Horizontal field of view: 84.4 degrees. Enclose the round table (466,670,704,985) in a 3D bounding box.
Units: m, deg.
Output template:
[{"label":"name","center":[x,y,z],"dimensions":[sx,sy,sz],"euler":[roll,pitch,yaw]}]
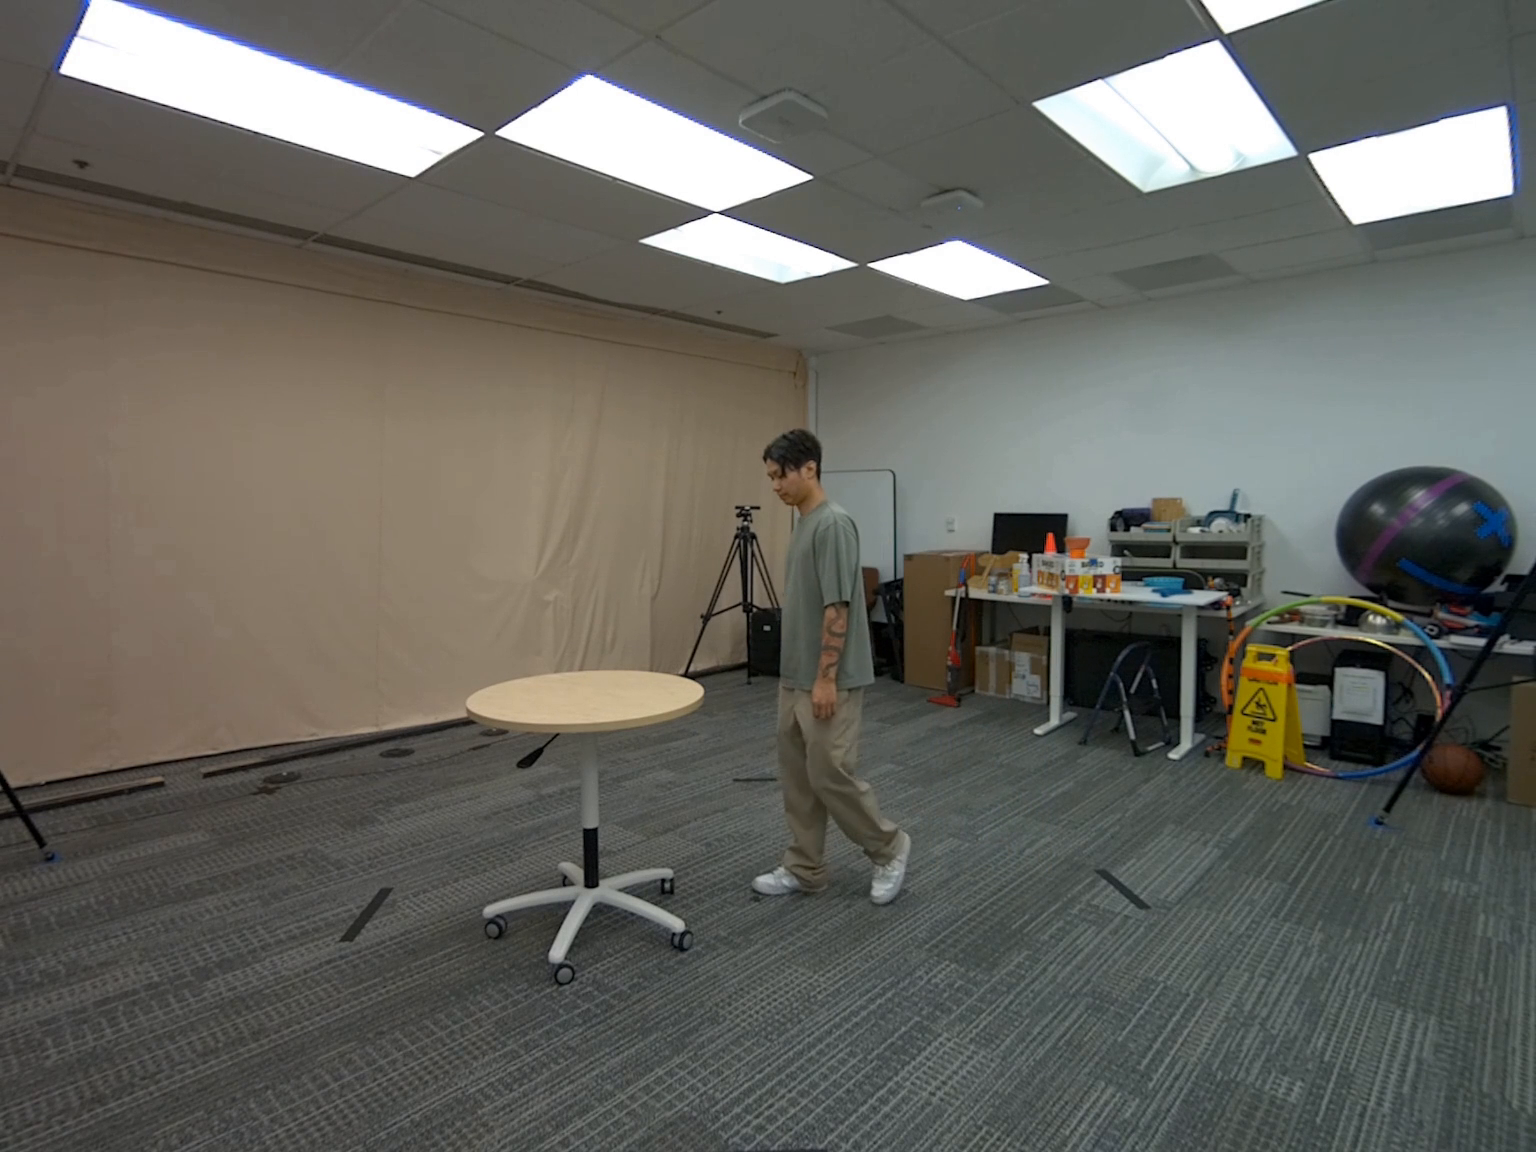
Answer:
[{"label":"round table","center":[-0.586,0.778,2.765],"dimensions":[0.784,0.785,0.788],"euler":[0,3,-2]}]
